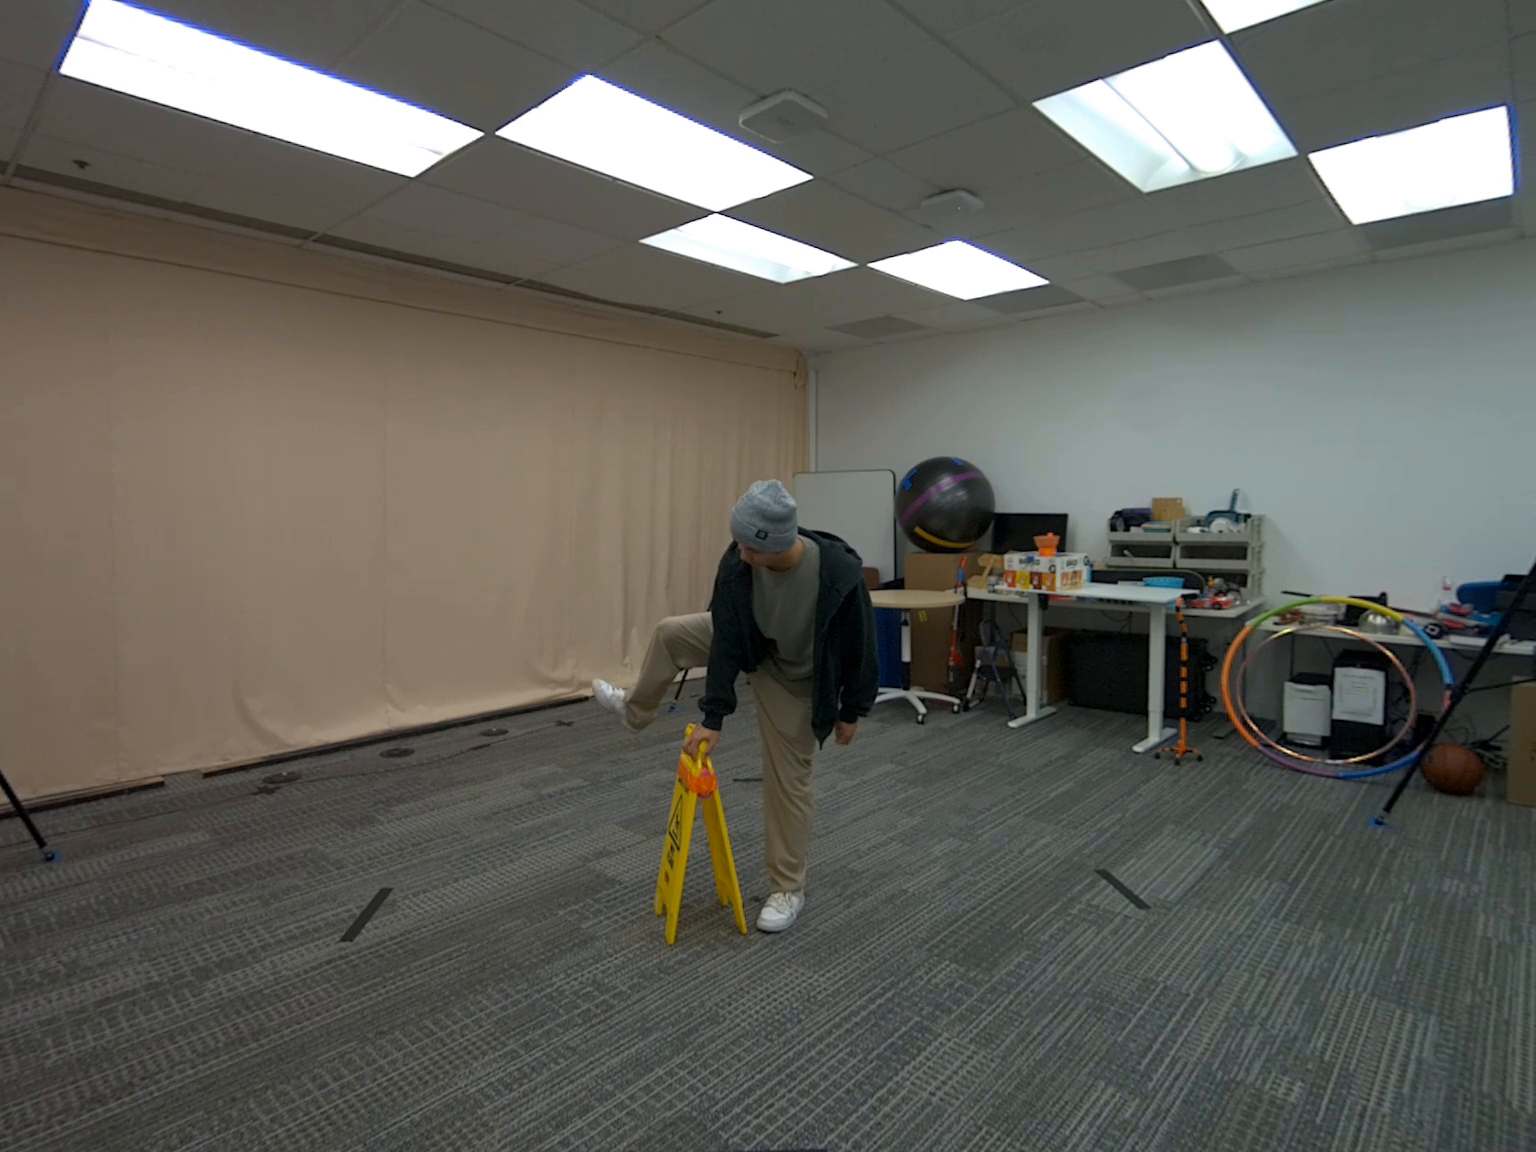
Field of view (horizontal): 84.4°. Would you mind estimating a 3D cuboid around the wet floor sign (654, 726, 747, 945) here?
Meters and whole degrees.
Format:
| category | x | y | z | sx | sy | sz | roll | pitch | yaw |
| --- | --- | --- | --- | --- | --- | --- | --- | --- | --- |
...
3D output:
| category | x | y | z | sx | sy | sz | roll | pitch | yaw |
| --- | --- | --- | --- | --- | --- | --- | --- | --- | --- |
| wet floor sign | -0.234 | 0.835 | 2.810 | 0.285 | 0.645 | 0.287 | -2 | 3 | -17 |
